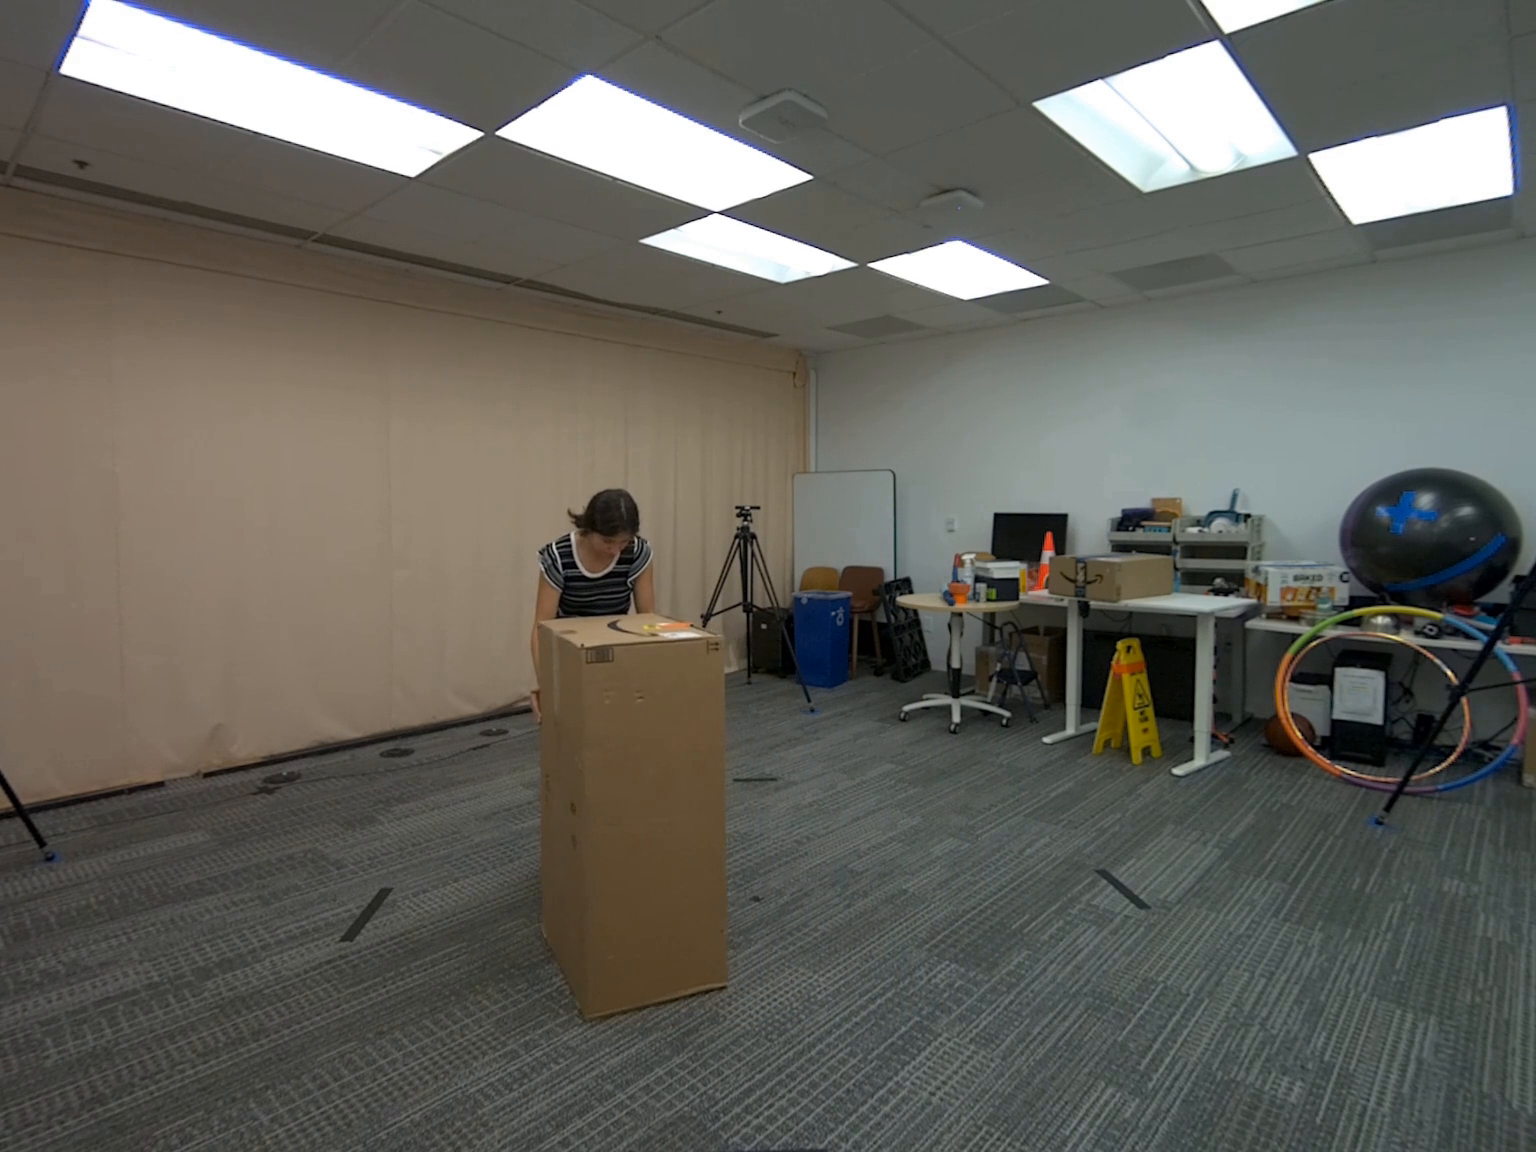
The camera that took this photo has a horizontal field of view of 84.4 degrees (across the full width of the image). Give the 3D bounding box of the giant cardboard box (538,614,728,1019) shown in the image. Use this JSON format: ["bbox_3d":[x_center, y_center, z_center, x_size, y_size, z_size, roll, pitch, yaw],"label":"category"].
[{"bbox_3d":[-0.431,0.671,2.591,0.416,1.024,0.593,-2,3,-27],"label":"giant cardboard box"}]
